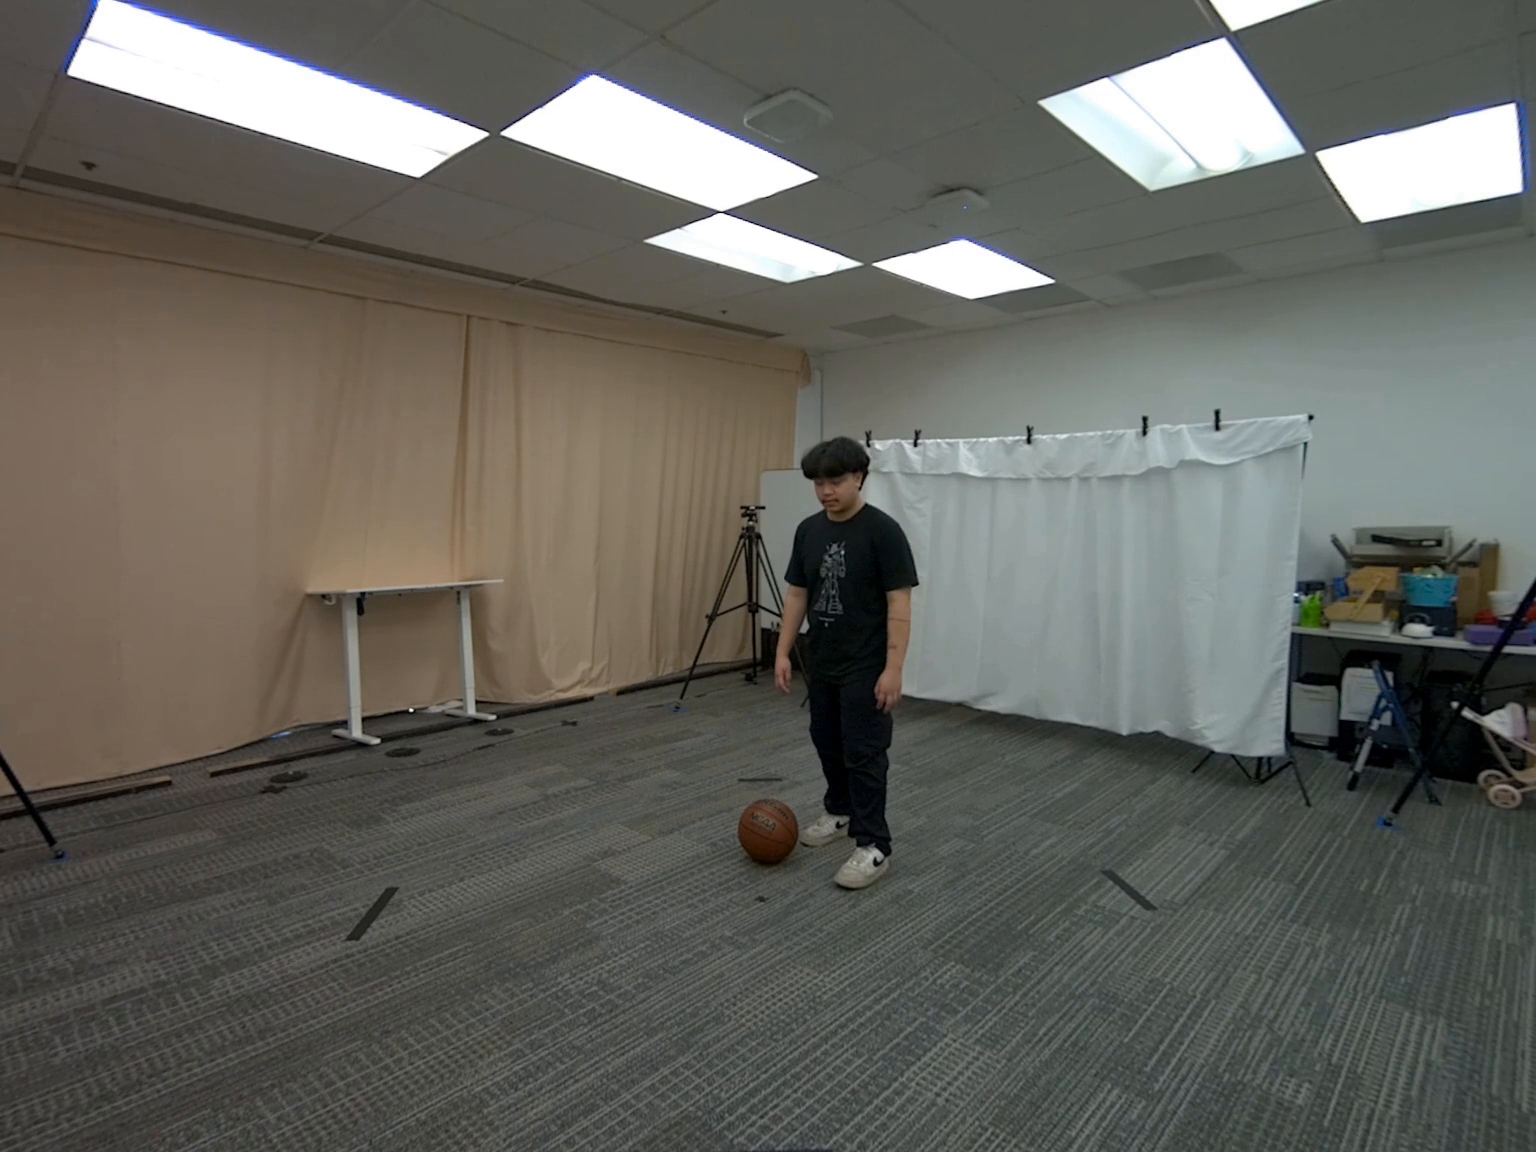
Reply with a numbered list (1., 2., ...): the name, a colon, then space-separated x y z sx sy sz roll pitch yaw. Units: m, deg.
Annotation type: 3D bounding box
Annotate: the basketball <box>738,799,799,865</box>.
1. basketball: 0.005 0.998 3.299 0.236 0.235 0.237 0 4 -2
